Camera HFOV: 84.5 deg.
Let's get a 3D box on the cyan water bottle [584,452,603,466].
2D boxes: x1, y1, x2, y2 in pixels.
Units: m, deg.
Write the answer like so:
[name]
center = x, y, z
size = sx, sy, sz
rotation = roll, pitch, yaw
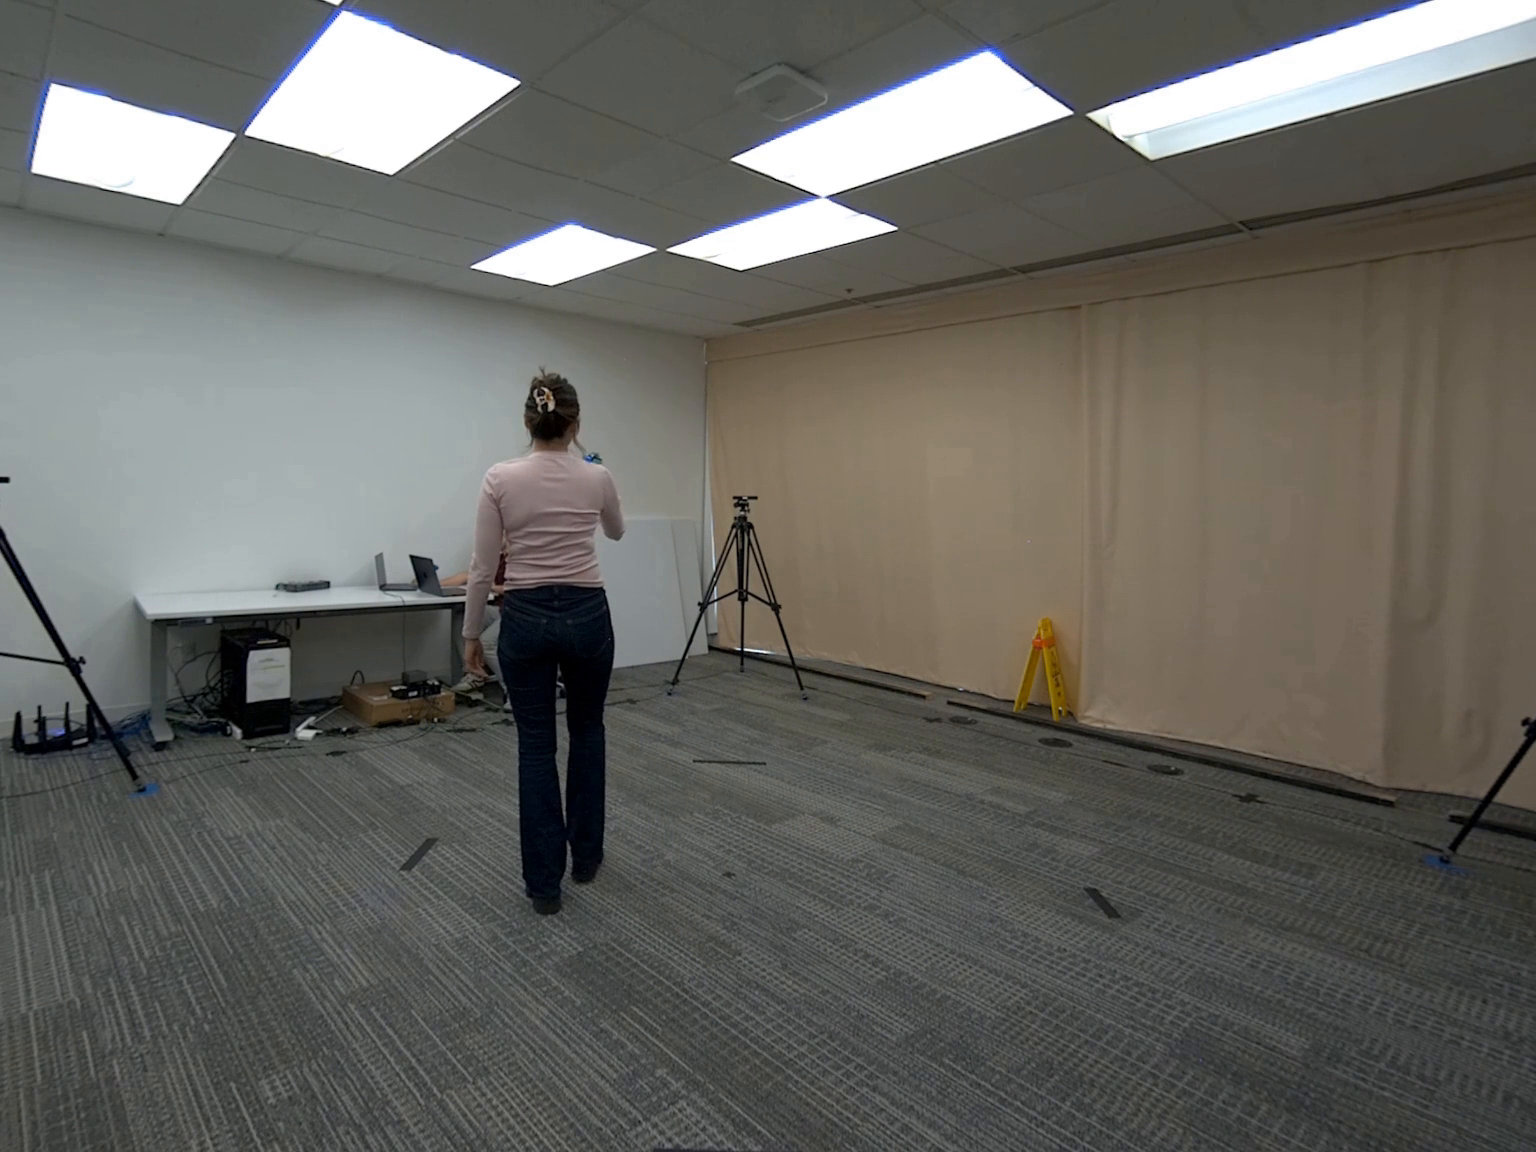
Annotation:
[cyan water bottle]
center = -0.721, -0.363, 3.411
size = 0.092, 0.282, 0.093
rotation = 2, 6, -2
